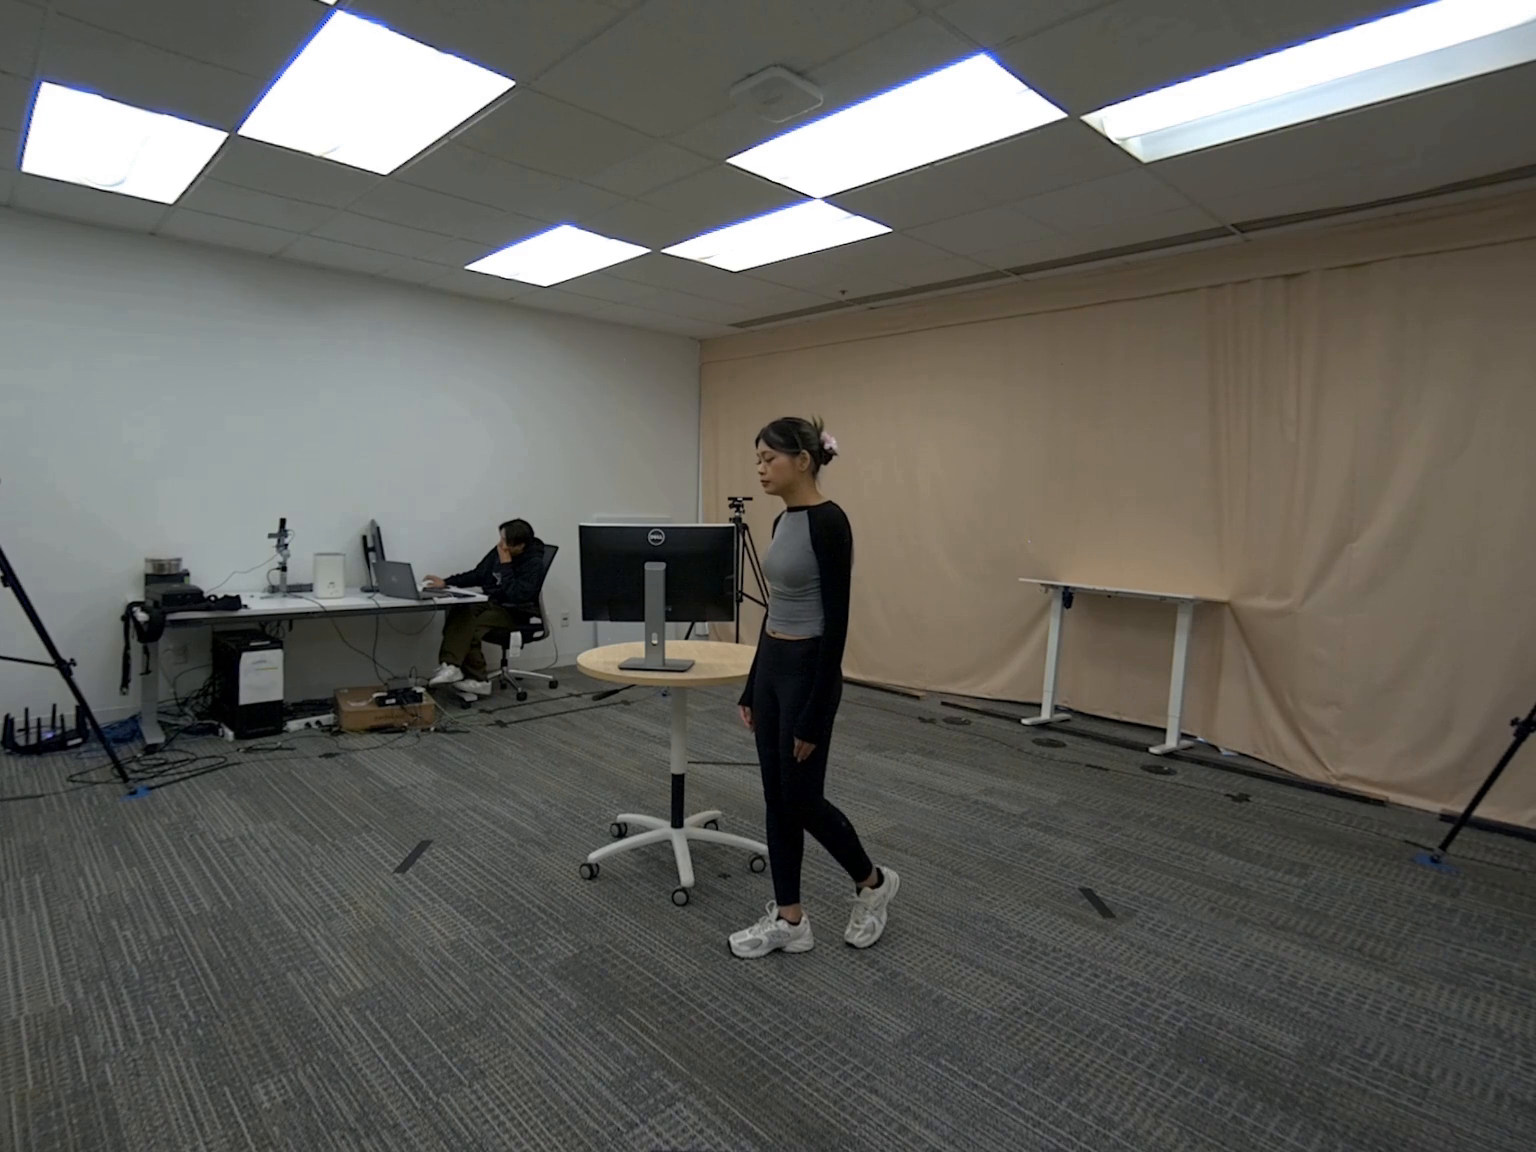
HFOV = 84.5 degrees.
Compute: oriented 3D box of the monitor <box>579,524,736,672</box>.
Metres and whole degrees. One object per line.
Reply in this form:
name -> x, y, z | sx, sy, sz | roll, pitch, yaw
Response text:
monitor -> -0.396, 0.073, 2.984 | 0.538, 0.522, 0.187 | 0, 1, -2
